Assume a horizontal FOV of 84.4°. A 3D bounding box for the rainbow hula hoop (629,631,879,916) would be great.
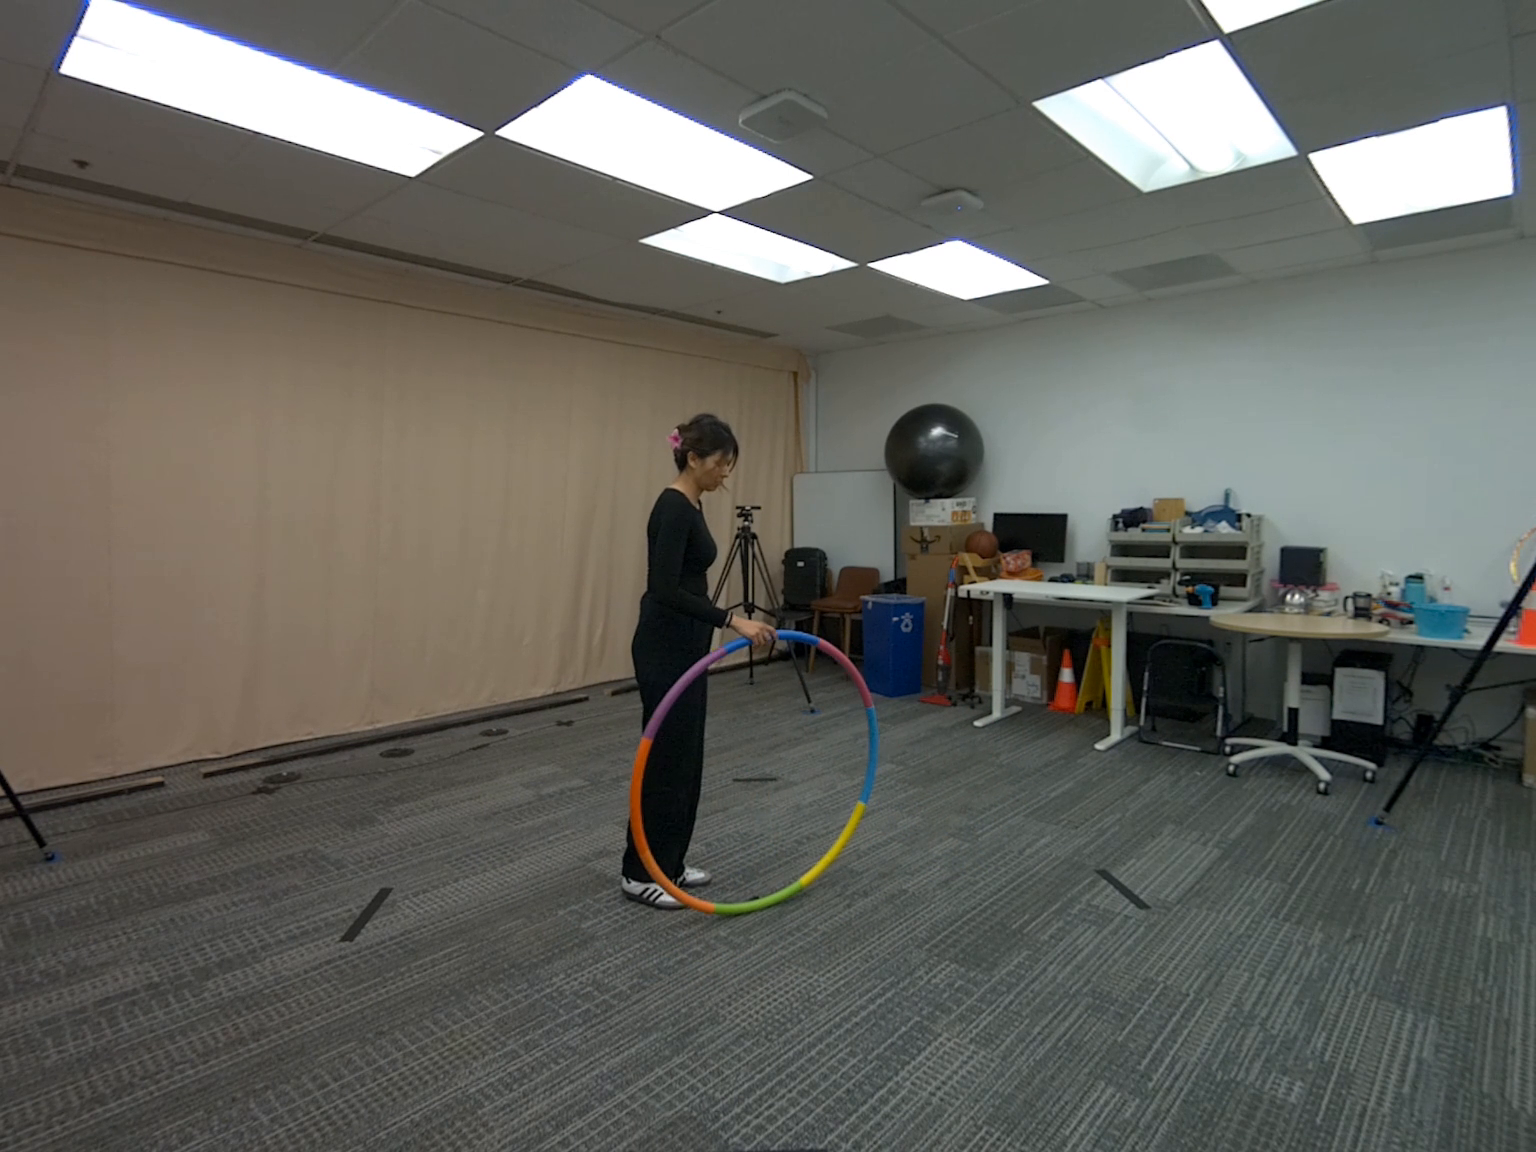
[{"bbox_3d":[-0.005,0.668,2.860,0.952,0.974,0.037,-2,8,-31],"label":"rainbow hula hoop"}]
